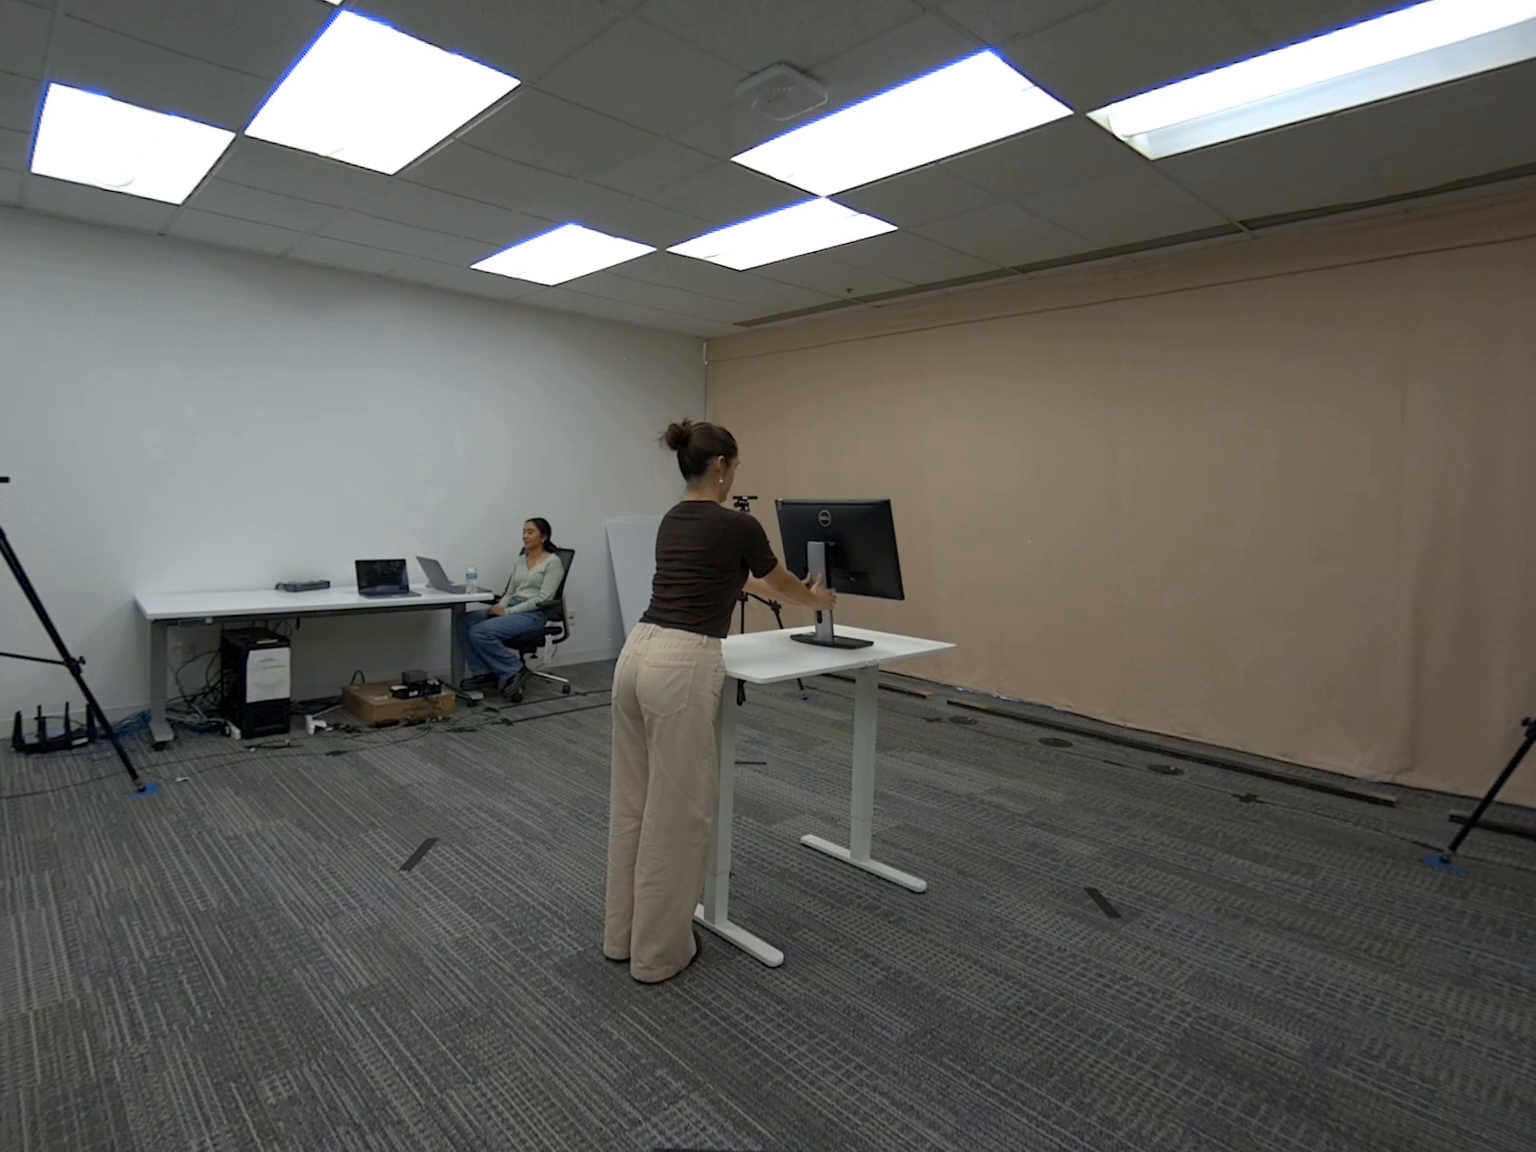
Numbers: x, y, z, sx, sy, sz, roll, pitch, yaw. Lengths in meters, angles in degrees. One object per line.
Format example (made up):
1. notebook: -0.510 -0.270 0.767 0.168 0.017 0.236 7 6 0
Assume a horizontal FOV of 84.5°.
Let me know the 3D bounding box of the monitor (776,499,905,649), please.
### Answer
1. monitor: 0.218 -0.011 2.988 0.183 0.521 0.553 -5 7 -45
